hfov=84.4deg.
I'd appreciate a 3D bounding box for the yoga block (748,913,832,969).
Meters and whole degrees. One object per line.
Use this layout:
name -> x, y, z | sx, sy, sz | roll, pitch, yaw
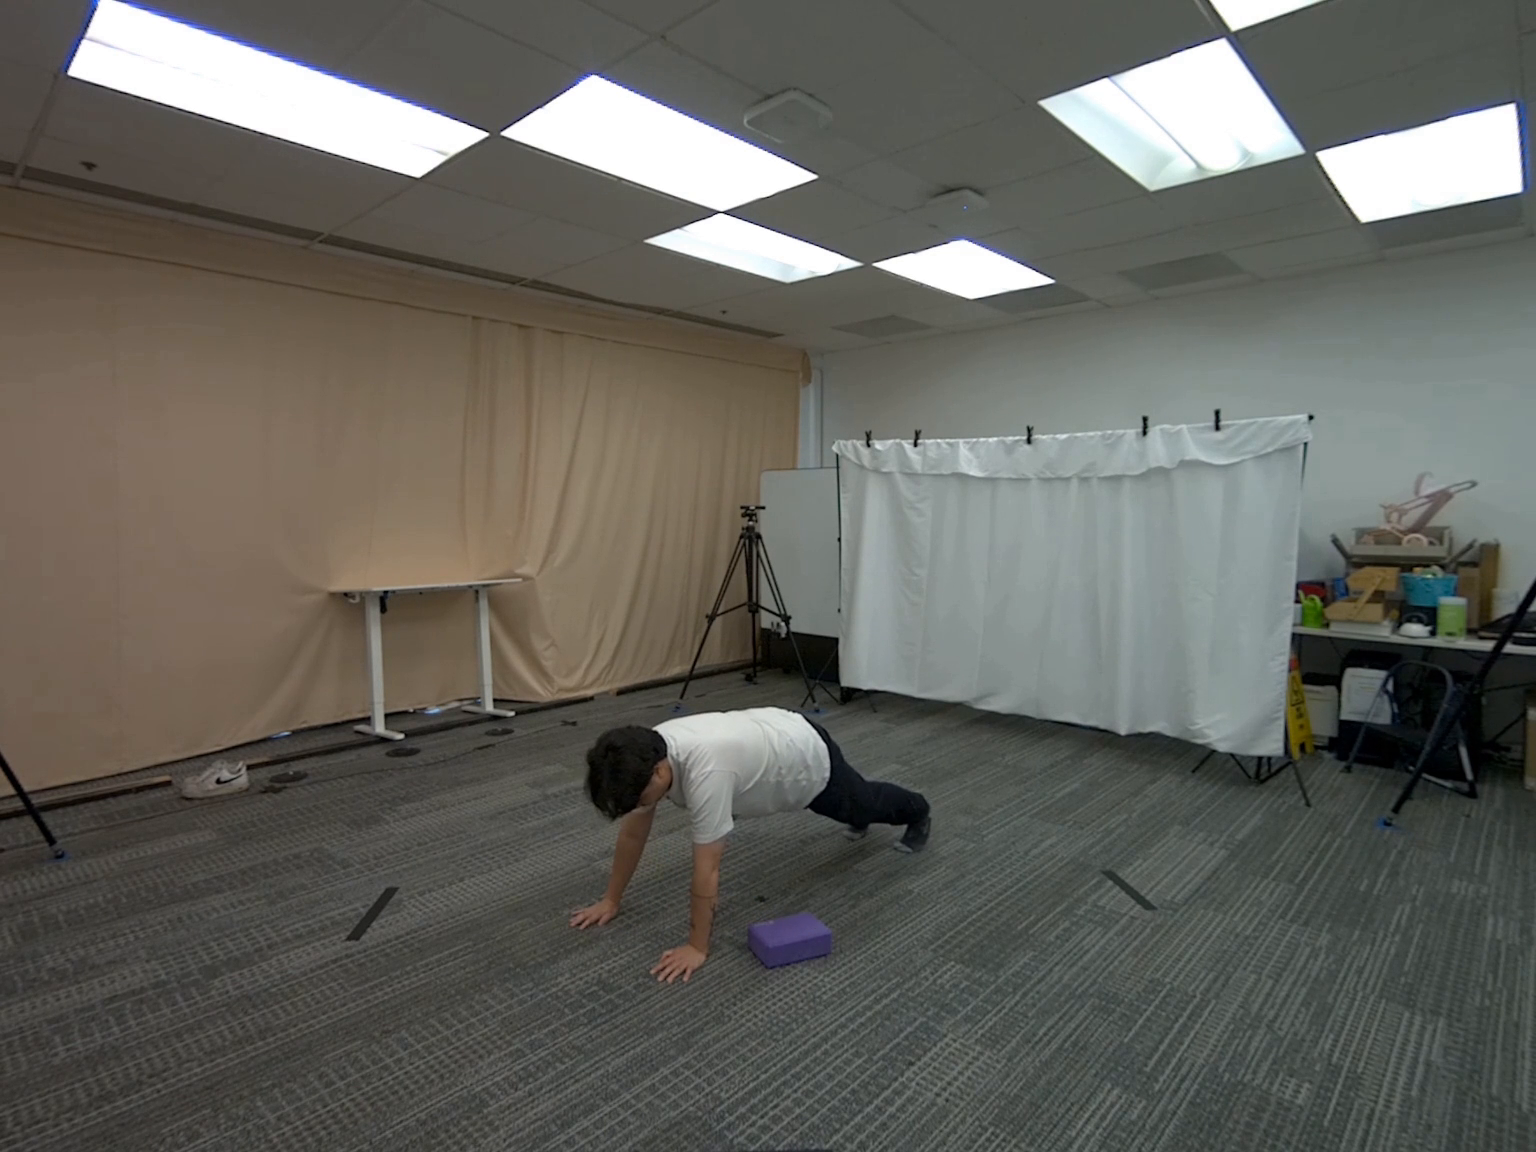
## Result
yoga block -> 0.070, 1.132, 2.630 | 0.224, 0.076, 0.153 | -2, 4, -25
